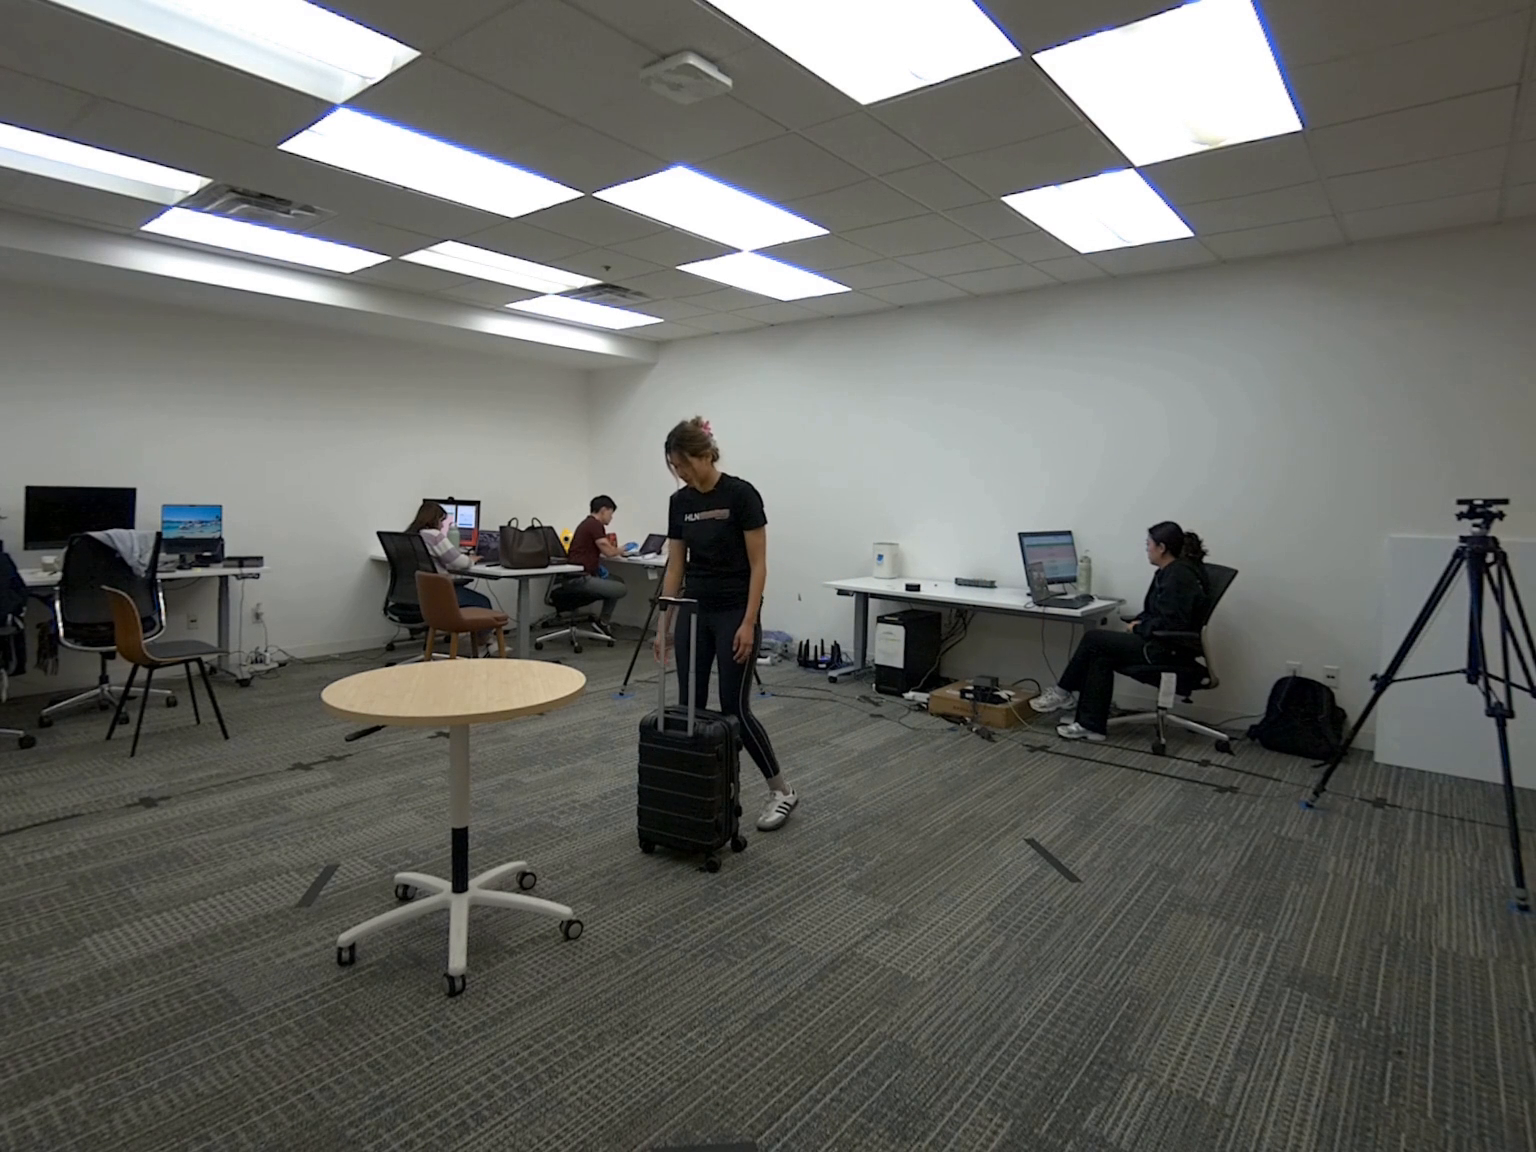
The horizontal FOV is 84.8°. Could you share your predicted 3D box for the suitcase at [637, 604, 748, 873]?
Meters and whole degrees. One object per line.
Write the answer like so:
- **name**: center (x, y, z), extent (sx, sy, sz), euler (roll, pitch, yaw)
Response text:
- **suitcase**: center (-0.315, 0.578, 3.244), extent (0.394, 0.977, 0.251), euler (1, 2, 26)
